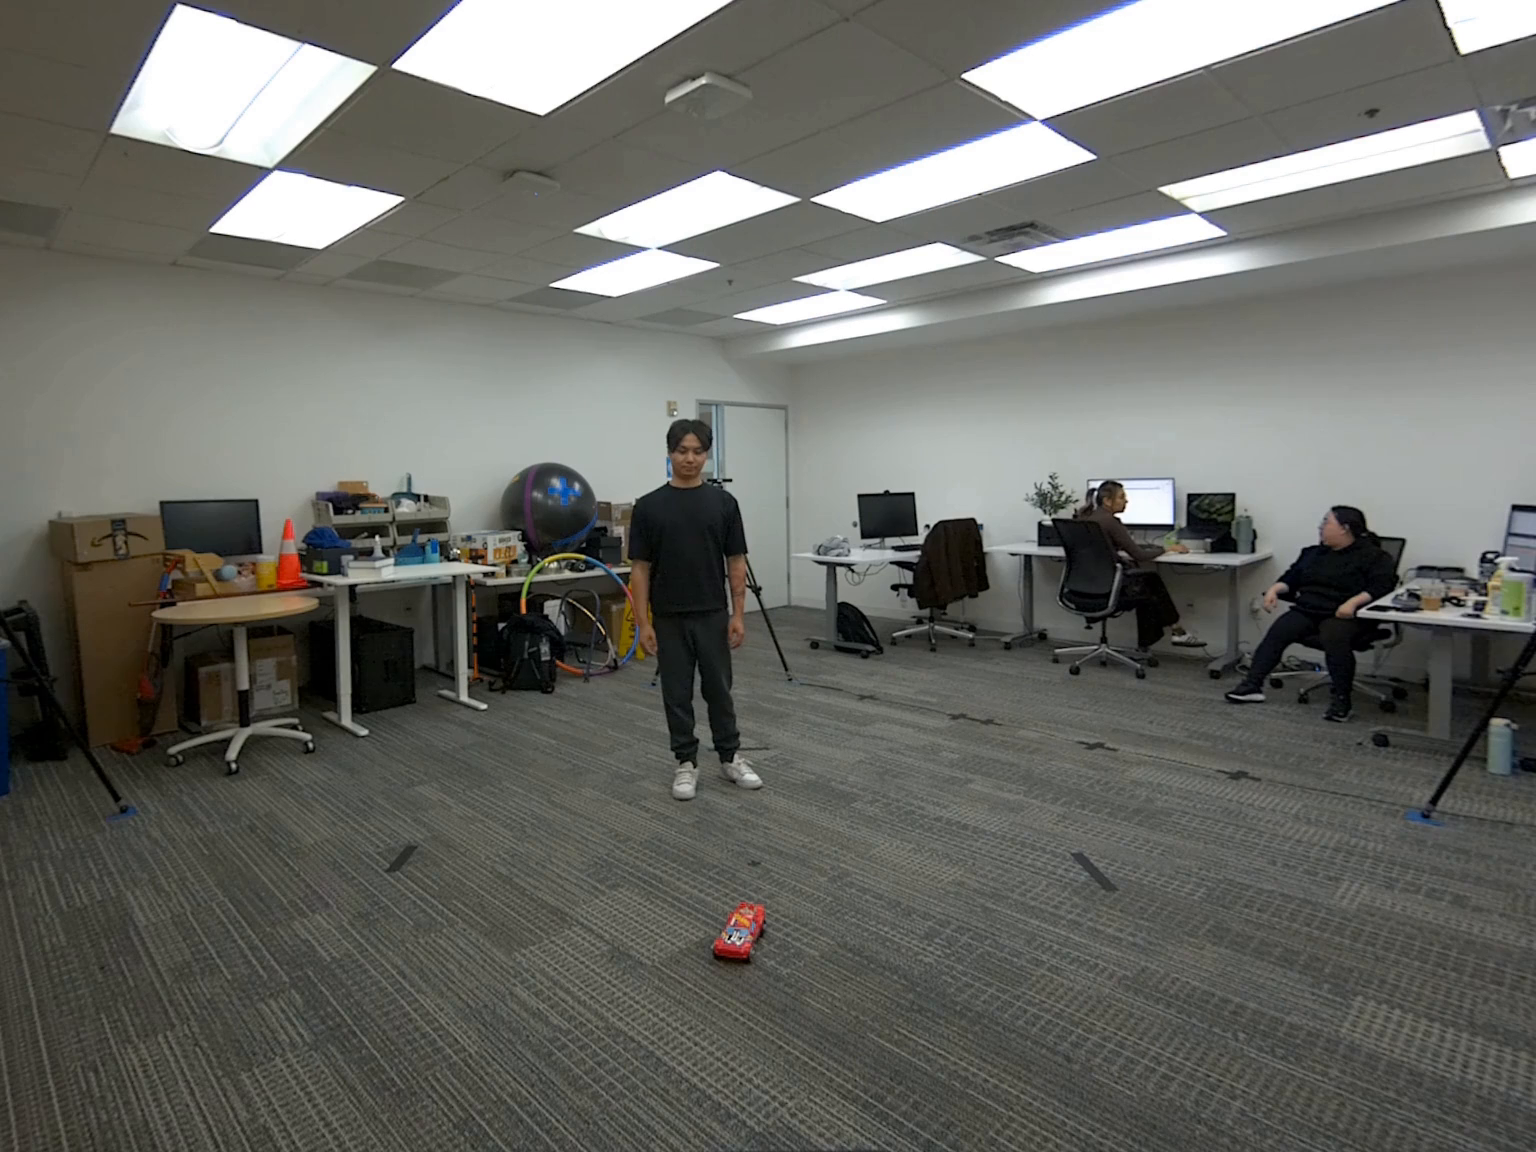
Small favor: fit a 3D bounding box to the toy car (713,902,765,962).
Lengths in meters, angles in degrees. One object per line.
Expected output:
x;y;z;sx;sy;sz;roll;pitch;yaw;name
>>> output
-0.073;1.078;2.577;0.132;0.082;0.254;1;16;15;toy car
